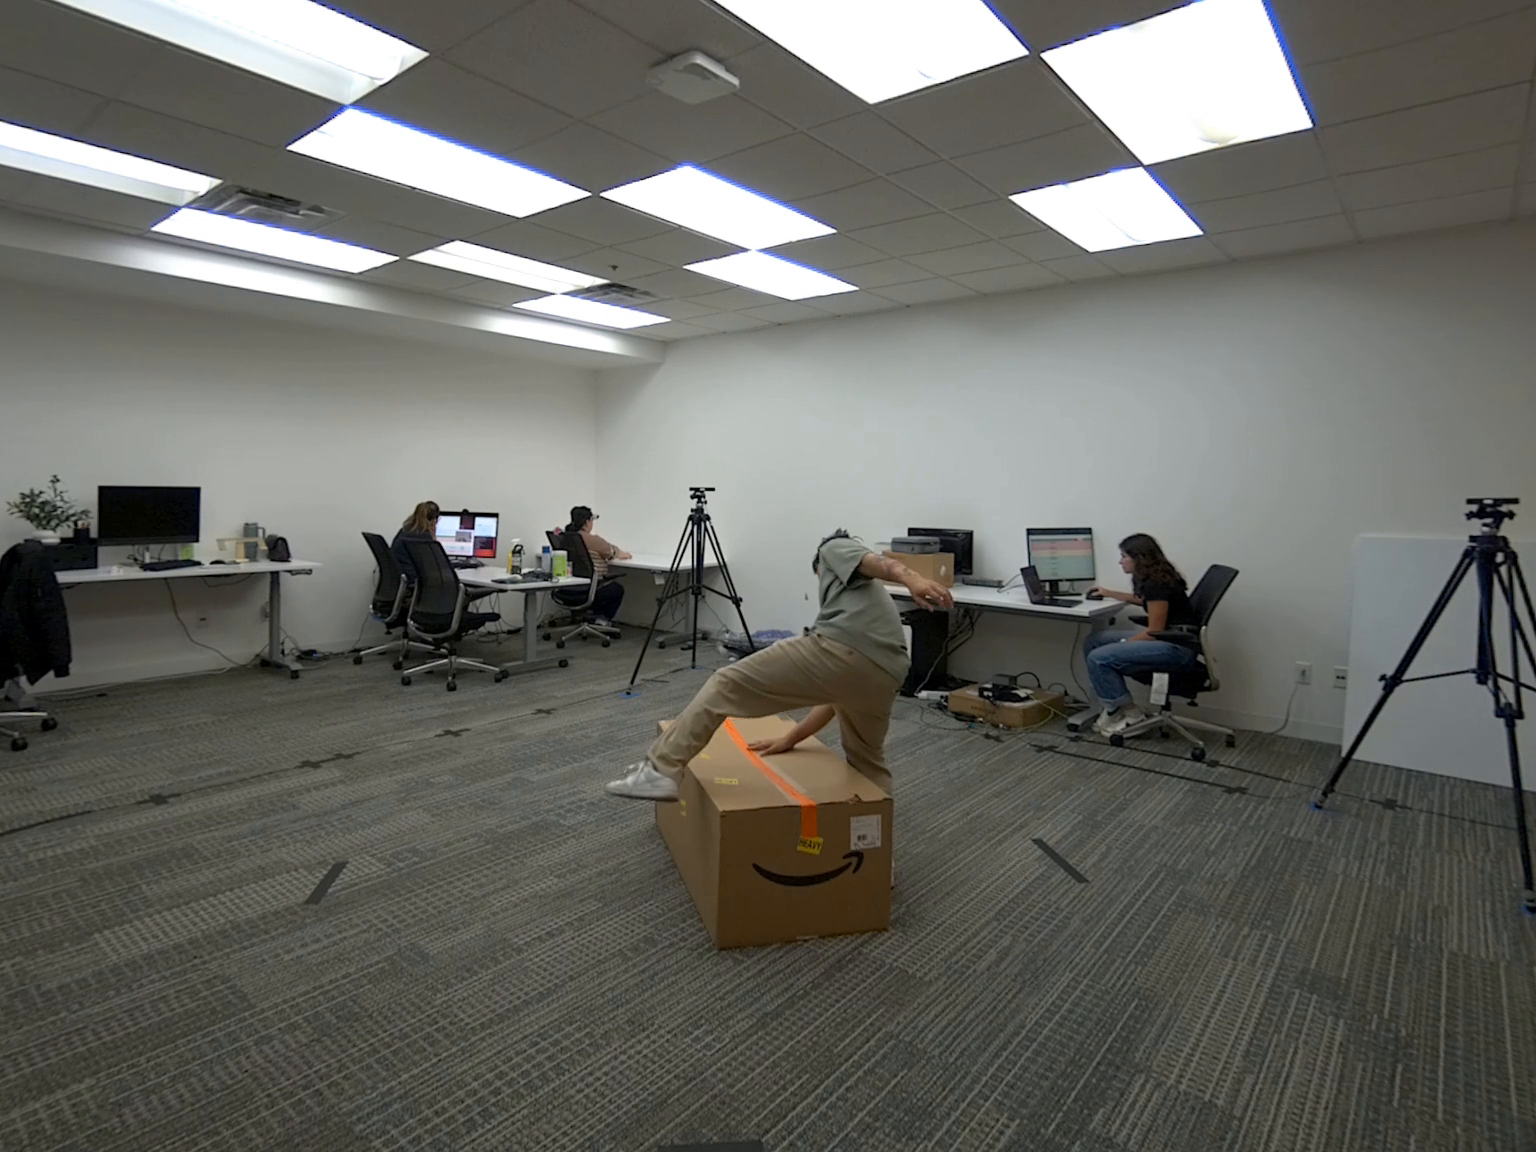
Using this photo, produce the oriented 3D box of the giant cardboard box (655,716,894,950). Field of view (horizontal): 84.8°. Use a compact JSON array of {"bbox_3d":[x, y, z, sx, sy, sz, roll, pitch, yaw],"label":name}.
[{"bbox_3d":[-0.043,0.857,3.105,0.568,0.425,1.047,0,5,-17],"label":"giant cardboard box"}]
